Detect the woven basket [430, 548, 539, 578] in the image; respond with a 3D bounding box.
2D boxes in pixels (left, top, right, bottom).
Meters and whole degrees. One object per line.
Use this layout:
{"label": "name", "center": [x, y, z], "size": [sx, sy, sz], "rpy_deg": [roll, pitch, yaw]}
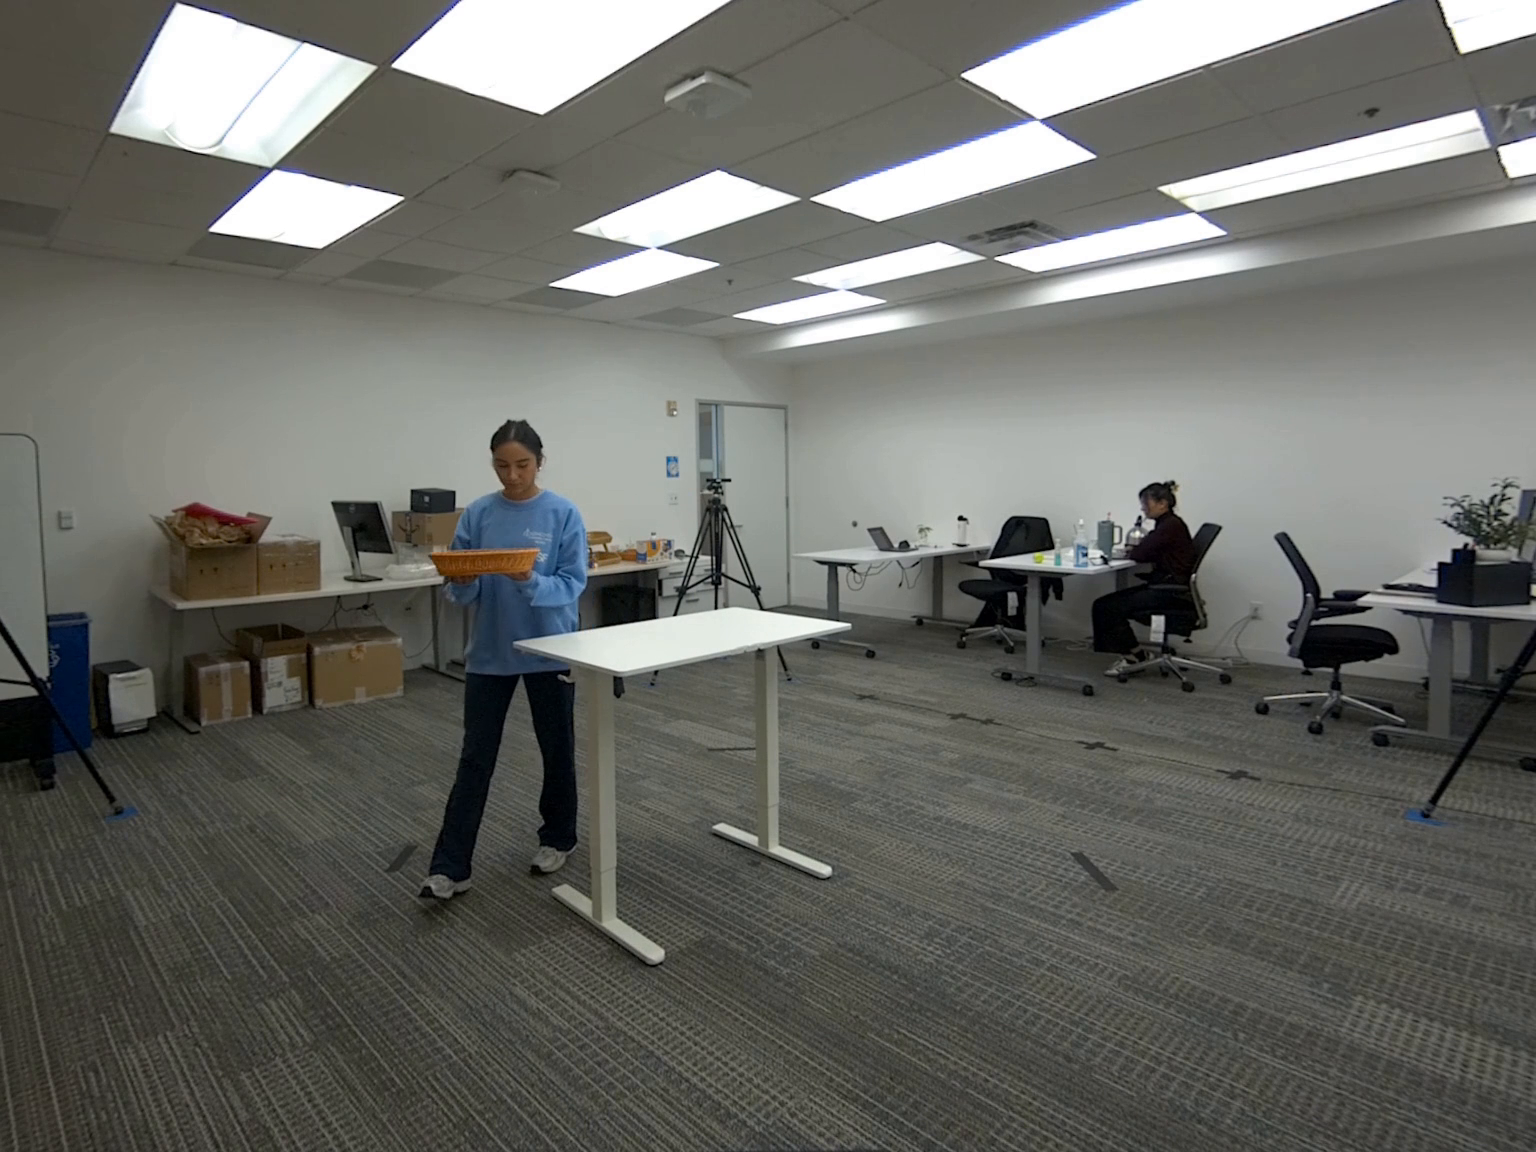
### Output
{"label": "woven basket", "center": [-0.941, -0.040, 2.736], "size": [0.346, 0.073, 0.256], "rpy_deg": [-3, 4, -13]}
